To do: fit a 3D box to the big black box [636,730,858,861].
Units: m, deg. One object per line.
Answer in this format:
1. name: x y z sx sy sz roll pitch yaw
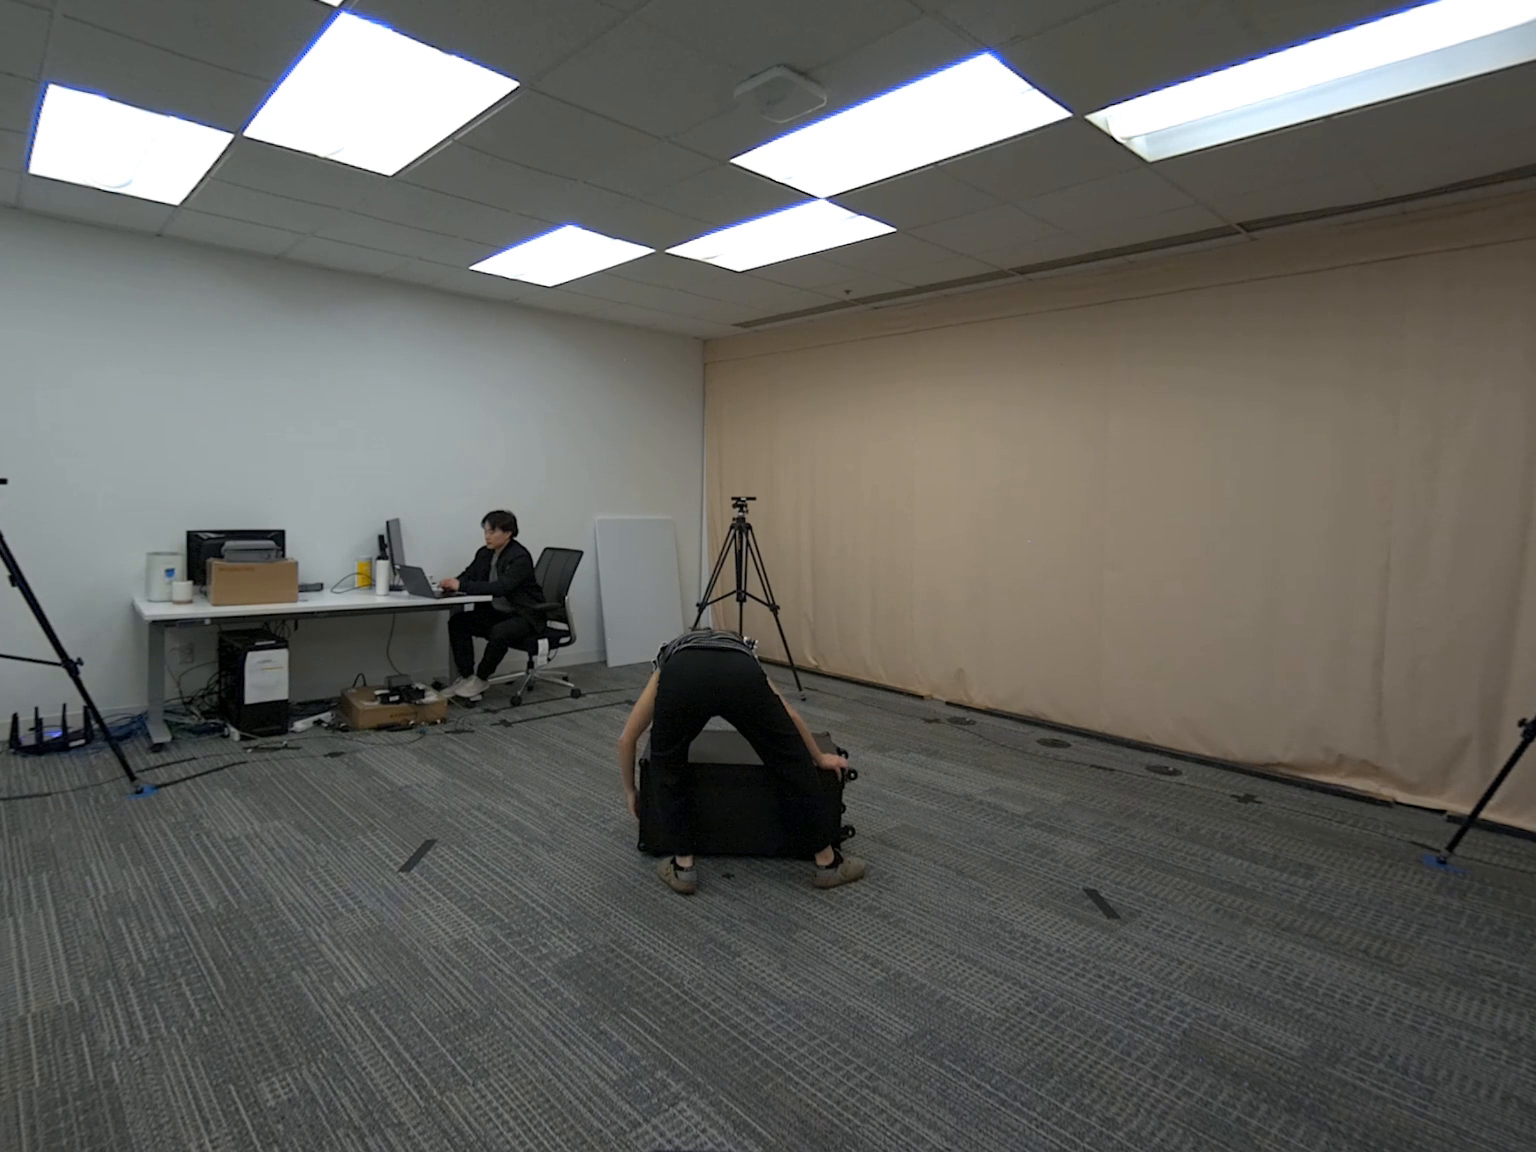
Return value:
1. big black box: -0.087 0.884 3.479 0.861 0.395 0.523 1 4 -1
